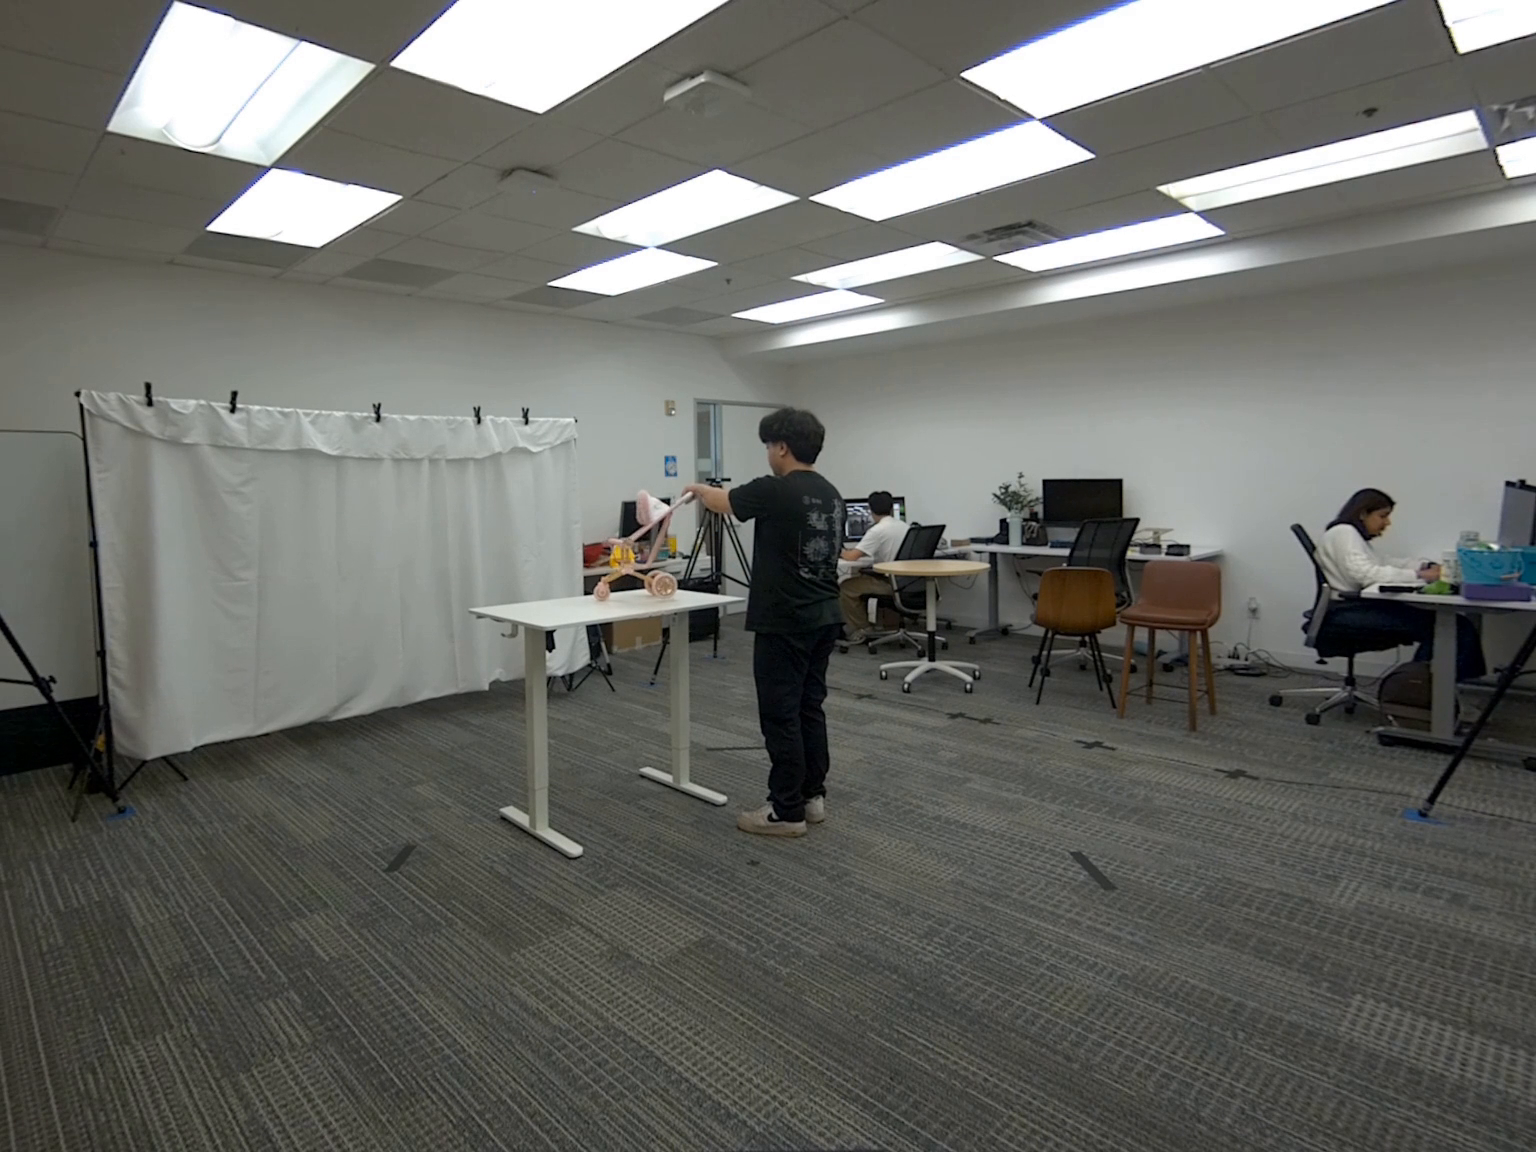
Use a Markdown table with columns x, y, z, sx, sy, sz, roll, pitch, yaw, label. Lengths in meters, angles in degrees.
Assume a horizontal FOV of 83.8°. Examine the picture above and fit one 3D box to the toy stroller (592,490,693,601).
| x | y | z | sx | sy | sz | roll | pitch | yaw | label |
| --- | --- | --- | --- | --- | --- | --- | --- | --- | --- |
| -0.547 | -0.131 | 3.723 | 0.338 | 0.535 | 0.284 | 11 | -1 | -9 | toy stroller |
